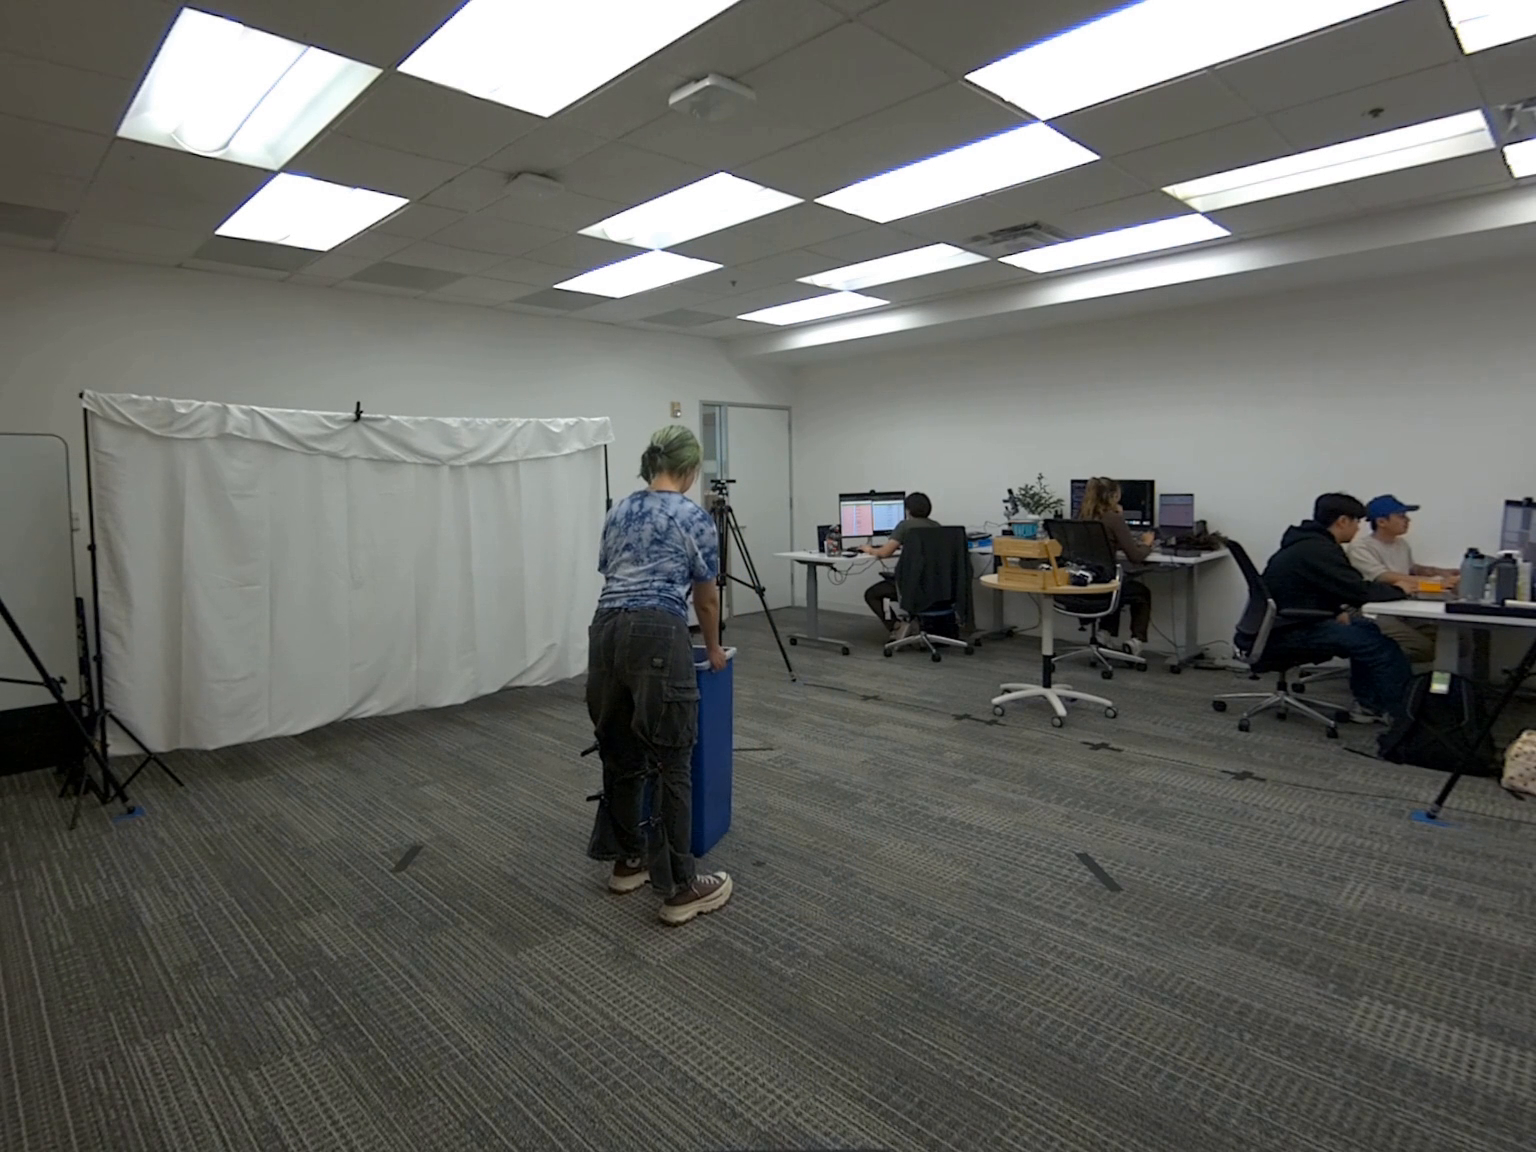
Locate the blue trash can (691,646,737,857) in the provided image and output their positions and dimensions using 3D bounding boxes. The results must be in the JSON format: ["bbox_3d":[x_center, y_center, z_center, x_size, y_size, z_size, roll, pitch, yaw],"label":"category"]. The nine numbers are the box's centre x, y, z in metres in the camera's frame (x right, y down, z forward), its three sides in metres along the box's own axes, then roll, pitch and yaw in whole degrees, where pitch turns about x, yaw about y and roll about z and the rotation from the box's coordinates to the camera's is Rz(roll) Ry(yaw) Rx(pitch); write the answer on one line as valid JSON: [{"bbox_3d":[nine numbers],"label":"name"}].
[{"bbox_3d":[-0.339,0.659,3.326,0.381,0.711,0.372,1,4,20],"label":"blue trash can"}]
